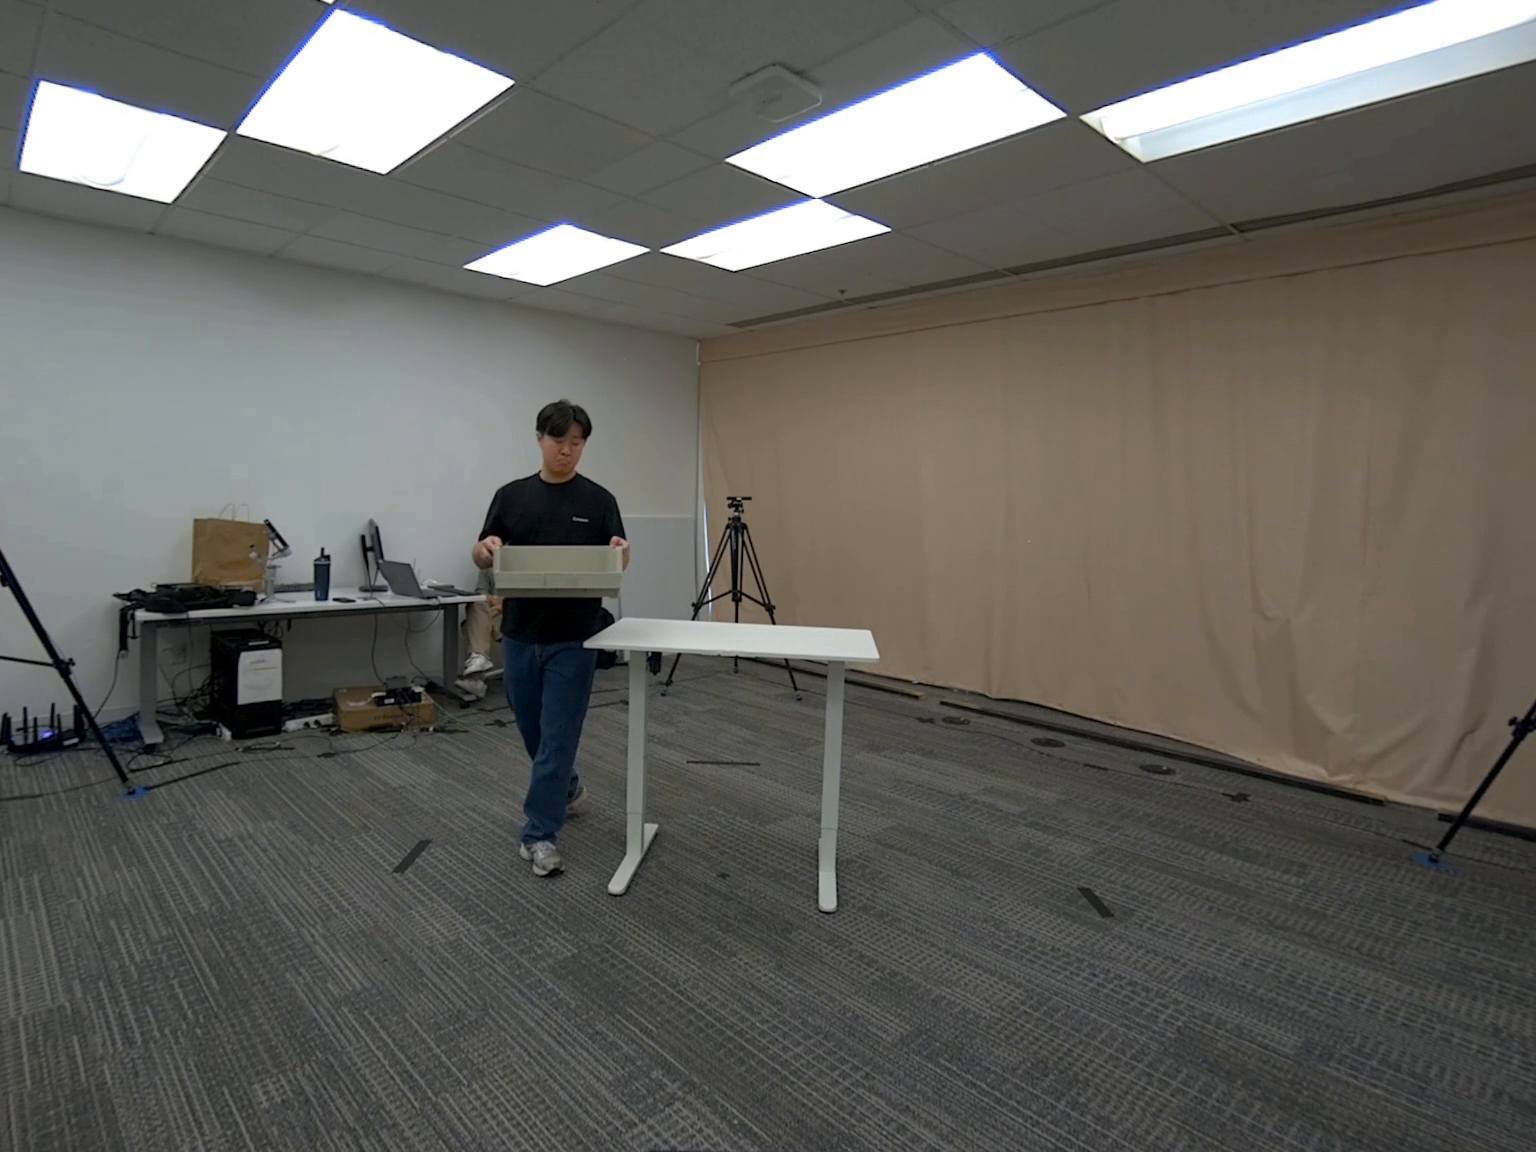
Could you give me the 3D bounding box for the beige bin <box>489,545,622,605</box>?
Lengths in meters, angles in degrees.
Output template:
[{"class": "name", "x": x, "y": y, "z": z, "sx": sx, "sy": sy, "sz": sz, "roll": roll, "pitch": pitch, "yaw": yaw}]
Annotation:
[{"class": "beige bin", "x": -0.744, "y": -0.011, "z": 2.948, "sx": 0.418, "sy": 0.189, "sz": 0.381, "roll": 0, "pitch": 1, "yaw": -14}]
